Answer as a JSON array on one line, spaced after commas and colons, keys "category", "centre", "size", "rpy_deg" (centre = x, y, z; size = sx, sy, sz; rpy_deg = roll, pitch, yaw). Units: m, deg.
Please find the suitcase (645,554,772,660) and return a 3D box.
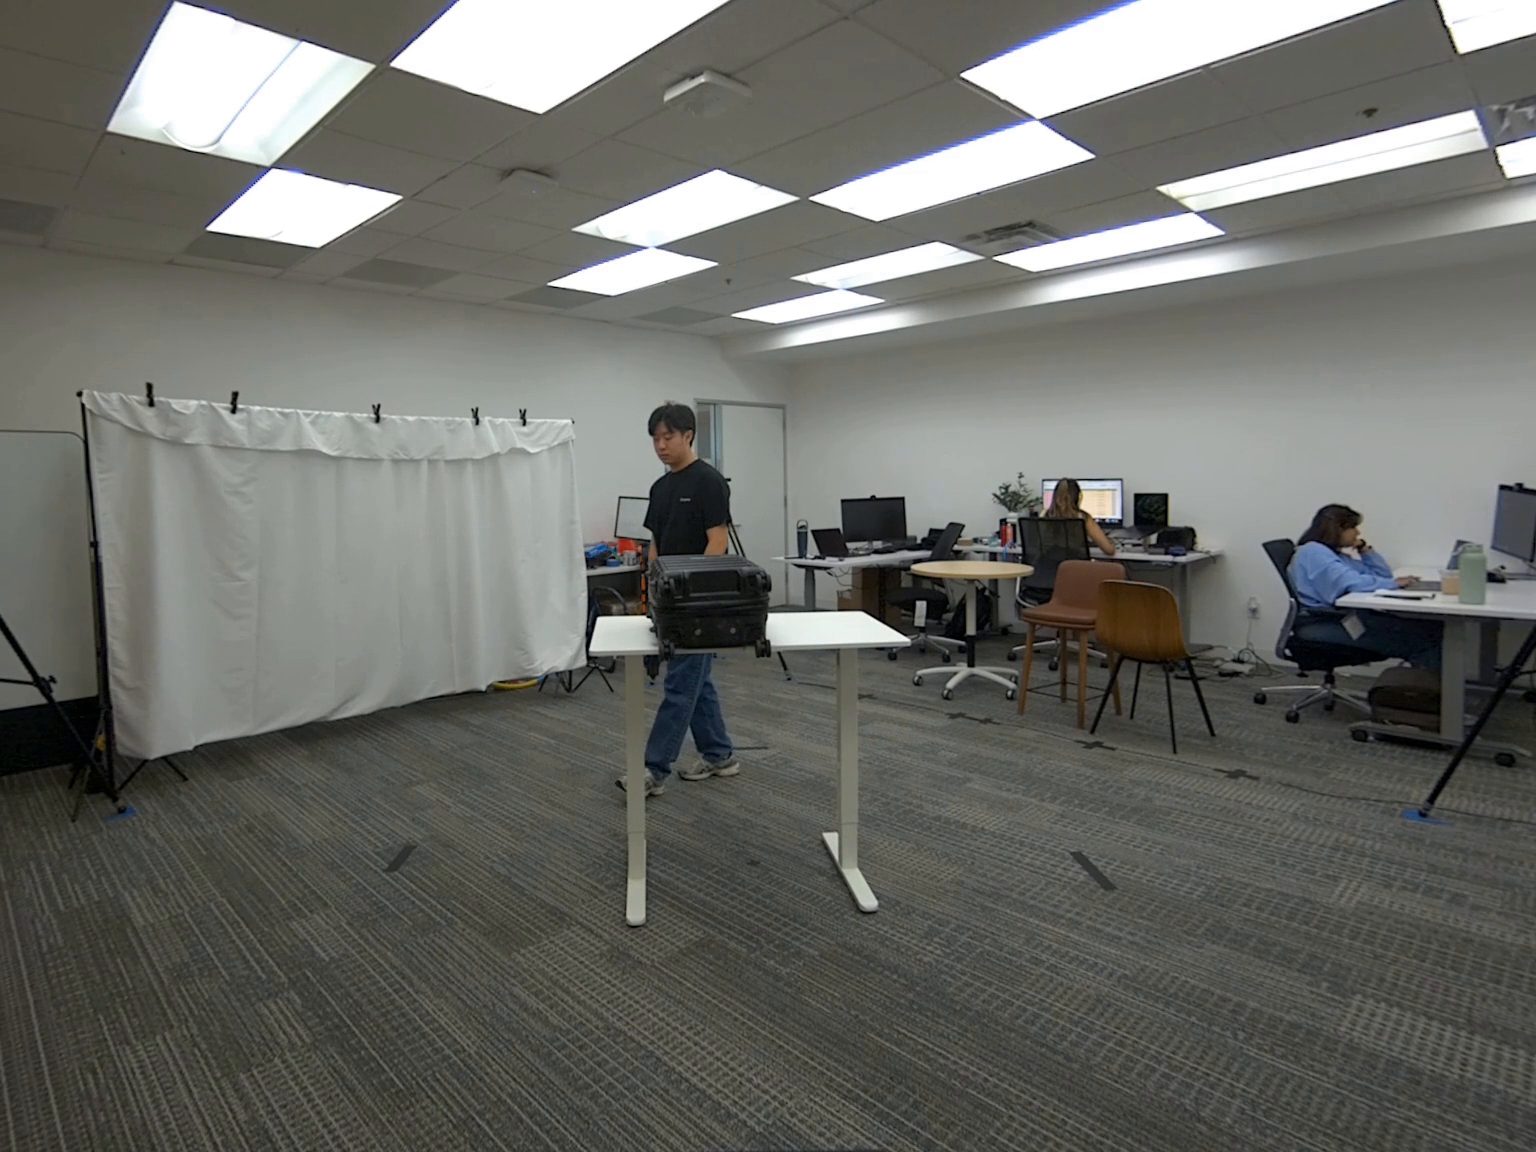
[{"category": "suitcase", "centre": [-0.246, 0.053, 2.992], "size": [0.380, 0.255, 0.995], "rpy_deg": [-3, 9, -12]}]
